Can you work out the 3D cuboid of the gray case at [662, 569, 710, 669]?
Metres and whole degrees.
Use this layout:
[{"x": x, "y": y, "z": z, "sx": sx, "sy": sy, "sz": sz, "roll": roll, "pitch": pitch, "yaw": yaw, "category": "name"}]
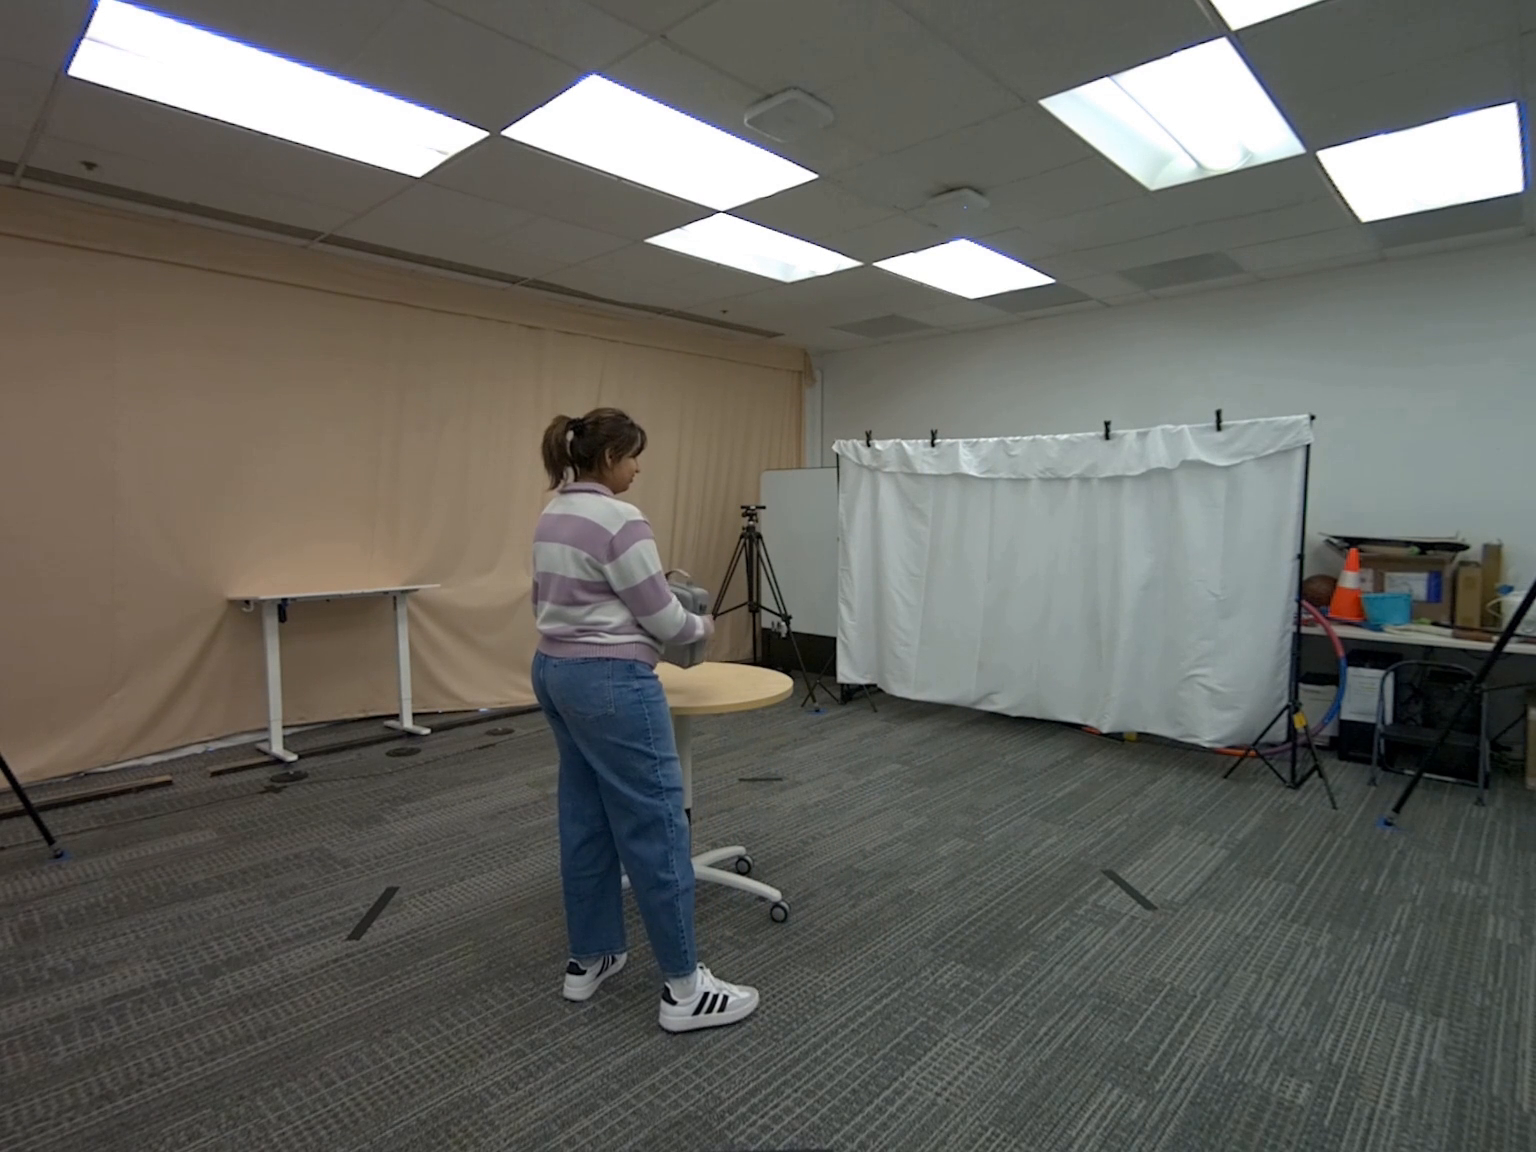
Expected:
[{"x": -0.309, "y": 0.145, "z": 2.723, "sx": 0.101, "sy": 0.259, "sz": 0.266, "roll": -2, "pitch": 11, "yaw": -36, "category": "gray case"}]
